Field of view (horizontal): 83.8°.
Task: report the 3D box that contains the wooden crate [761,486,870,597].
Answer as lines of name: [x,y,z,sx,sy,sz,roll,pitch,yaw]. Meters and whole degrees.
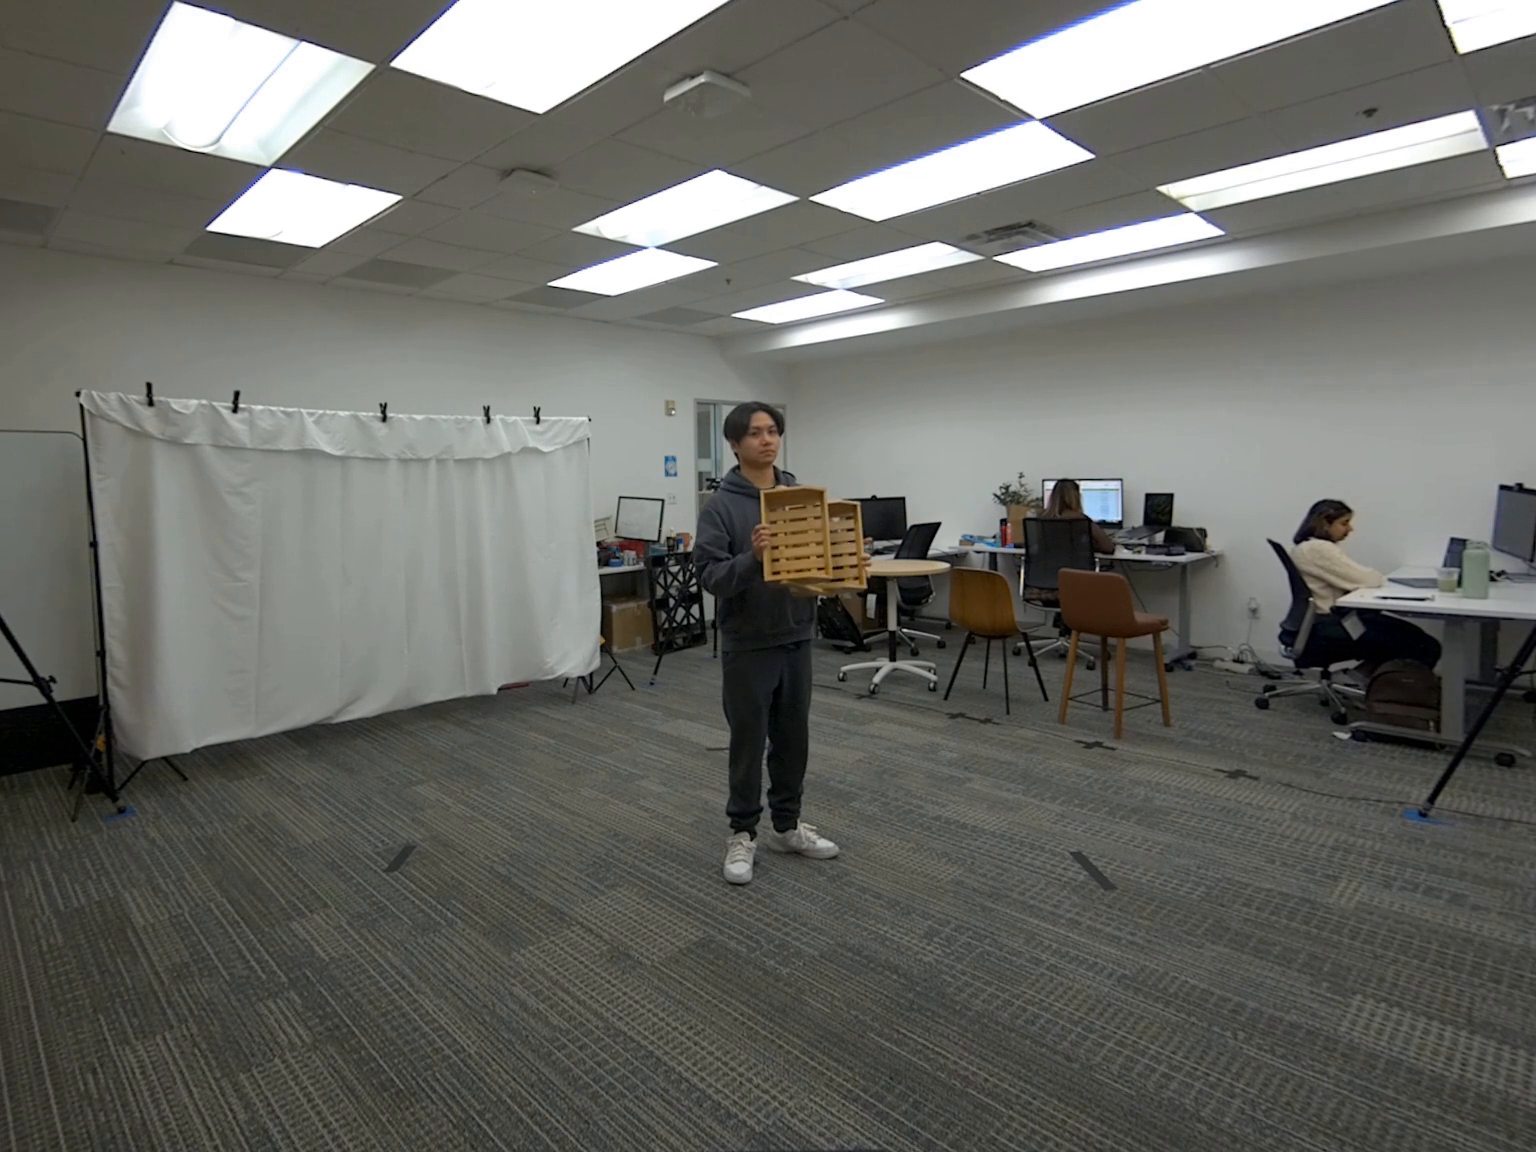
wooden crate: [0.151,-0.110,2.796,0.305,0.330,0.266,-6,-17,11]
